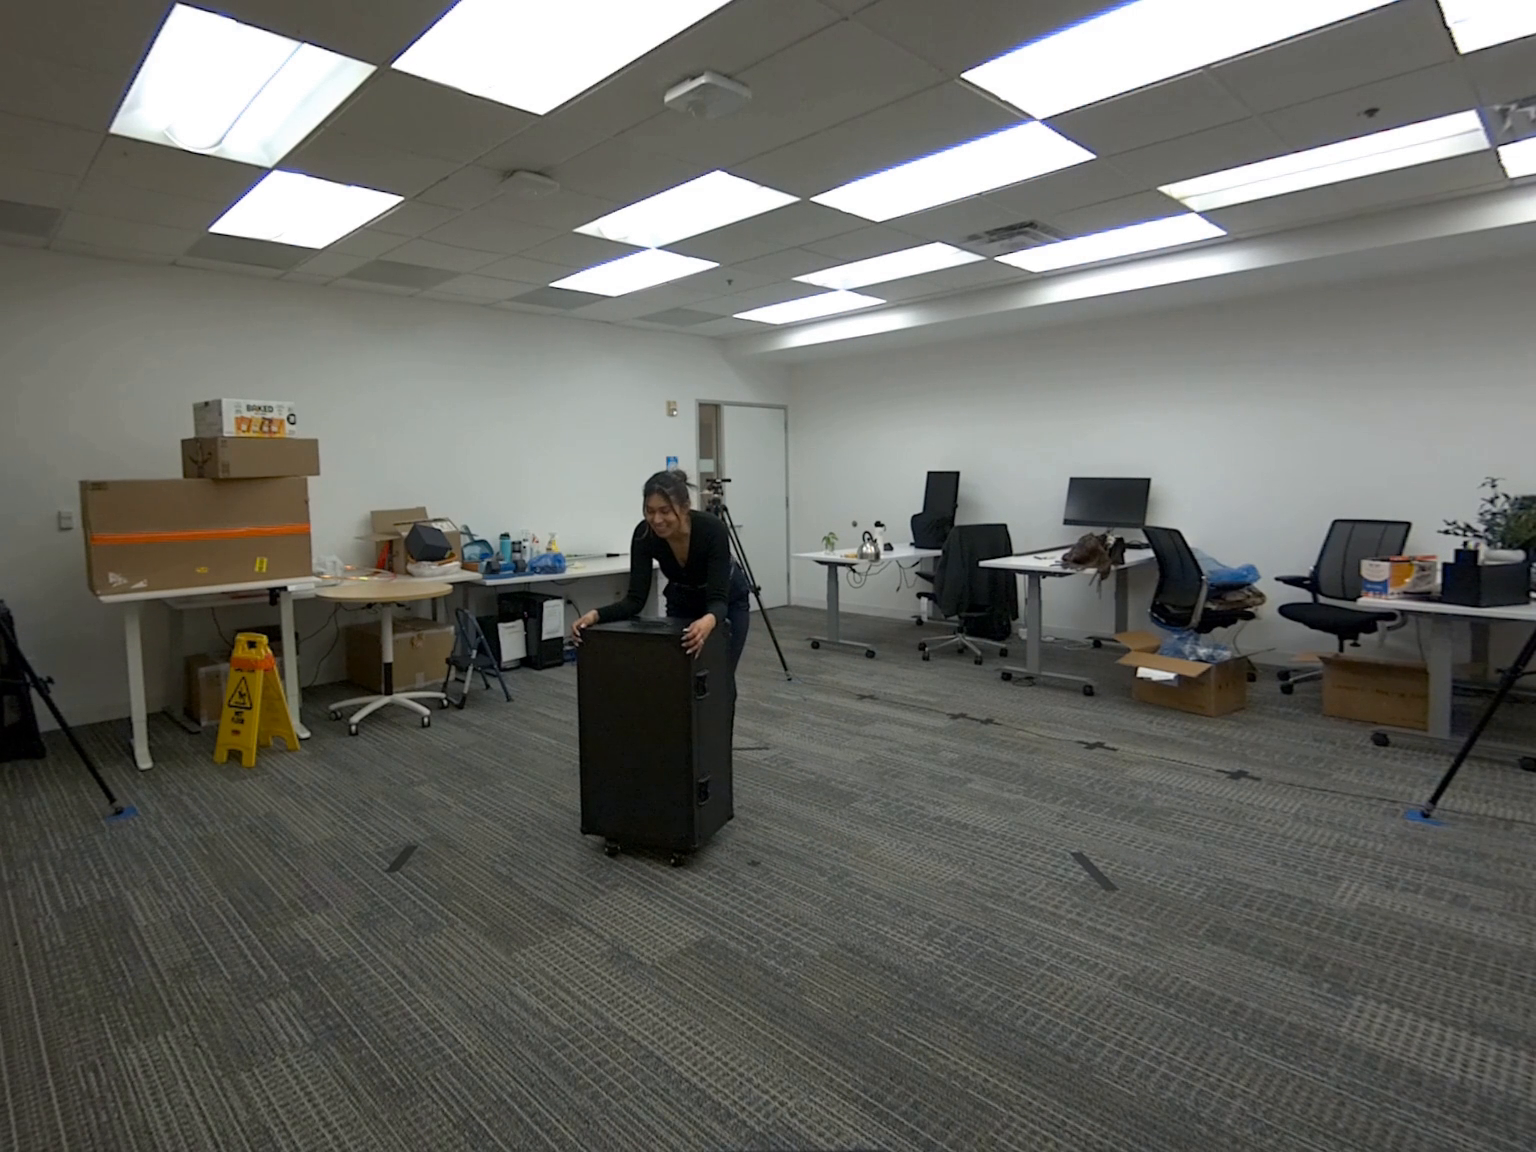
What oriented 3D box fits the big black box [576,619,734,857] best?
[{"bbox_3d":[-0.429,0.606,3.277,0.533,0.860,0.388,1,2,23],"label":"big black box"}]
